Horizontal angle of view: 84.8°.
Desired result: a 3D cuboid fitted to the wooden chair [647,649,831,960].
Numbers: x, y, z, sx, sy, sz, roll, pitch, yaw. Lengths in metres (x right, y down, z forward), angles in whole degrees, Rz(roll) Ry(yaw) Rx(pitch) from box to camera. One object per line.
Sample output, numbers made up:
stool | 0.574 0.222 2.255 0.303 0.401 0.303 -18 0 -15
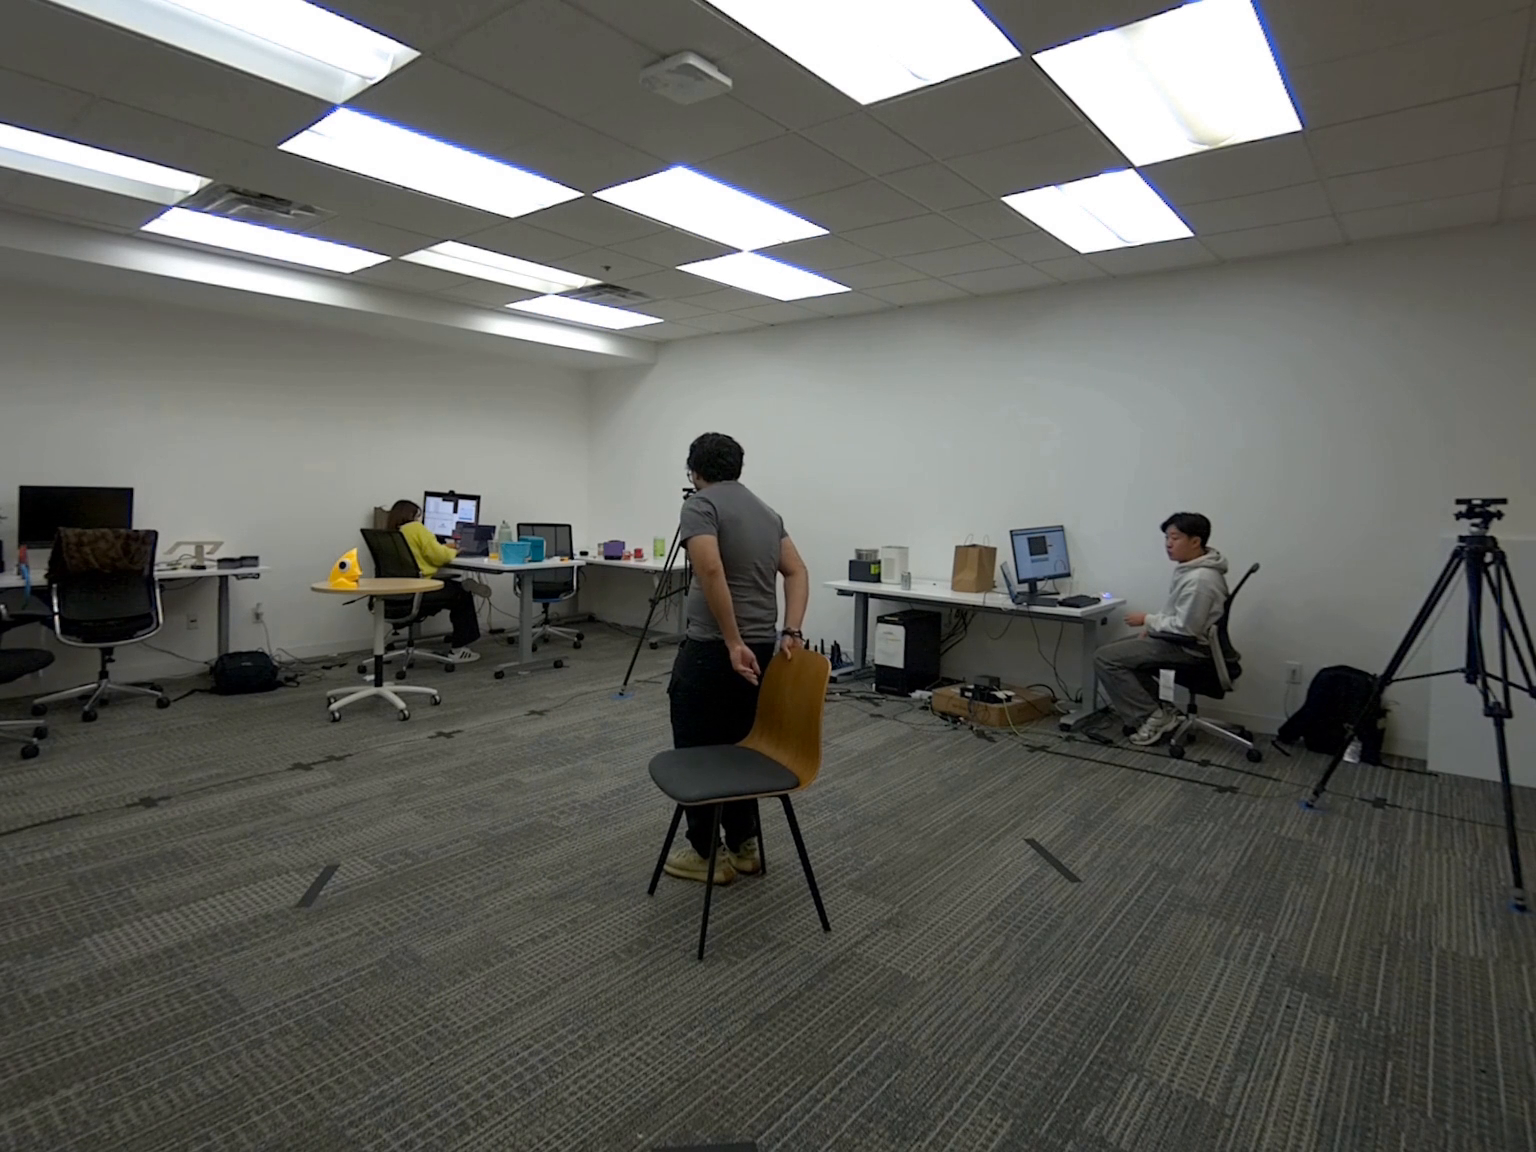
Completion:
wooden chair | -0.108 0.681 2.762 0.509 0.876 0.492 4 2 -27
